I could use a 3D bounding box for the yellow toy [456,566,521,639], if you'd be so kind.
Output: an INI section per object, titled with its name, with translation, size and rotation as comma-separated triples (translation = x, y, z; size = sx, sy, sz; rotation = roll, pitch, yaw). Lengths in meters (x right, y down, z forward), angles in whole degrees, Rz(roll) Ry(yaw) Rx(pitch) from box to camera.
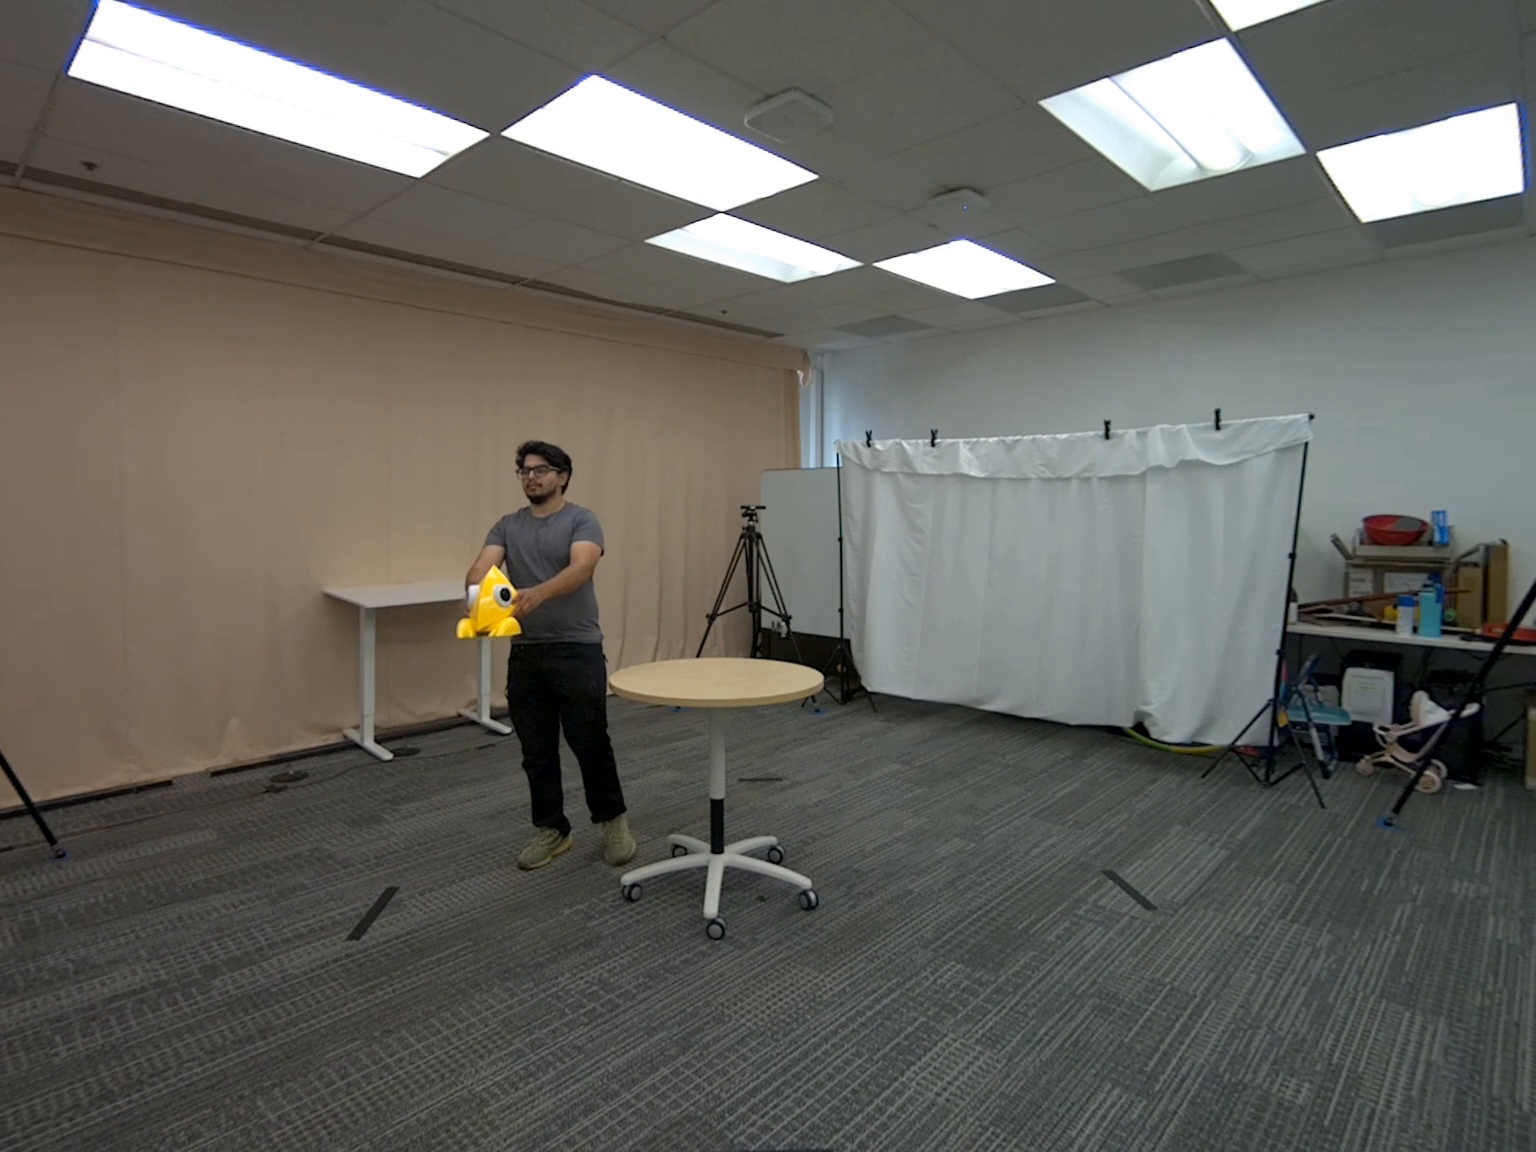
[yellow toy]
translation = -0.912, 0.081, 2.787
size = 0.206, 0.231, 0.192
rotation = -2, 0, 6
